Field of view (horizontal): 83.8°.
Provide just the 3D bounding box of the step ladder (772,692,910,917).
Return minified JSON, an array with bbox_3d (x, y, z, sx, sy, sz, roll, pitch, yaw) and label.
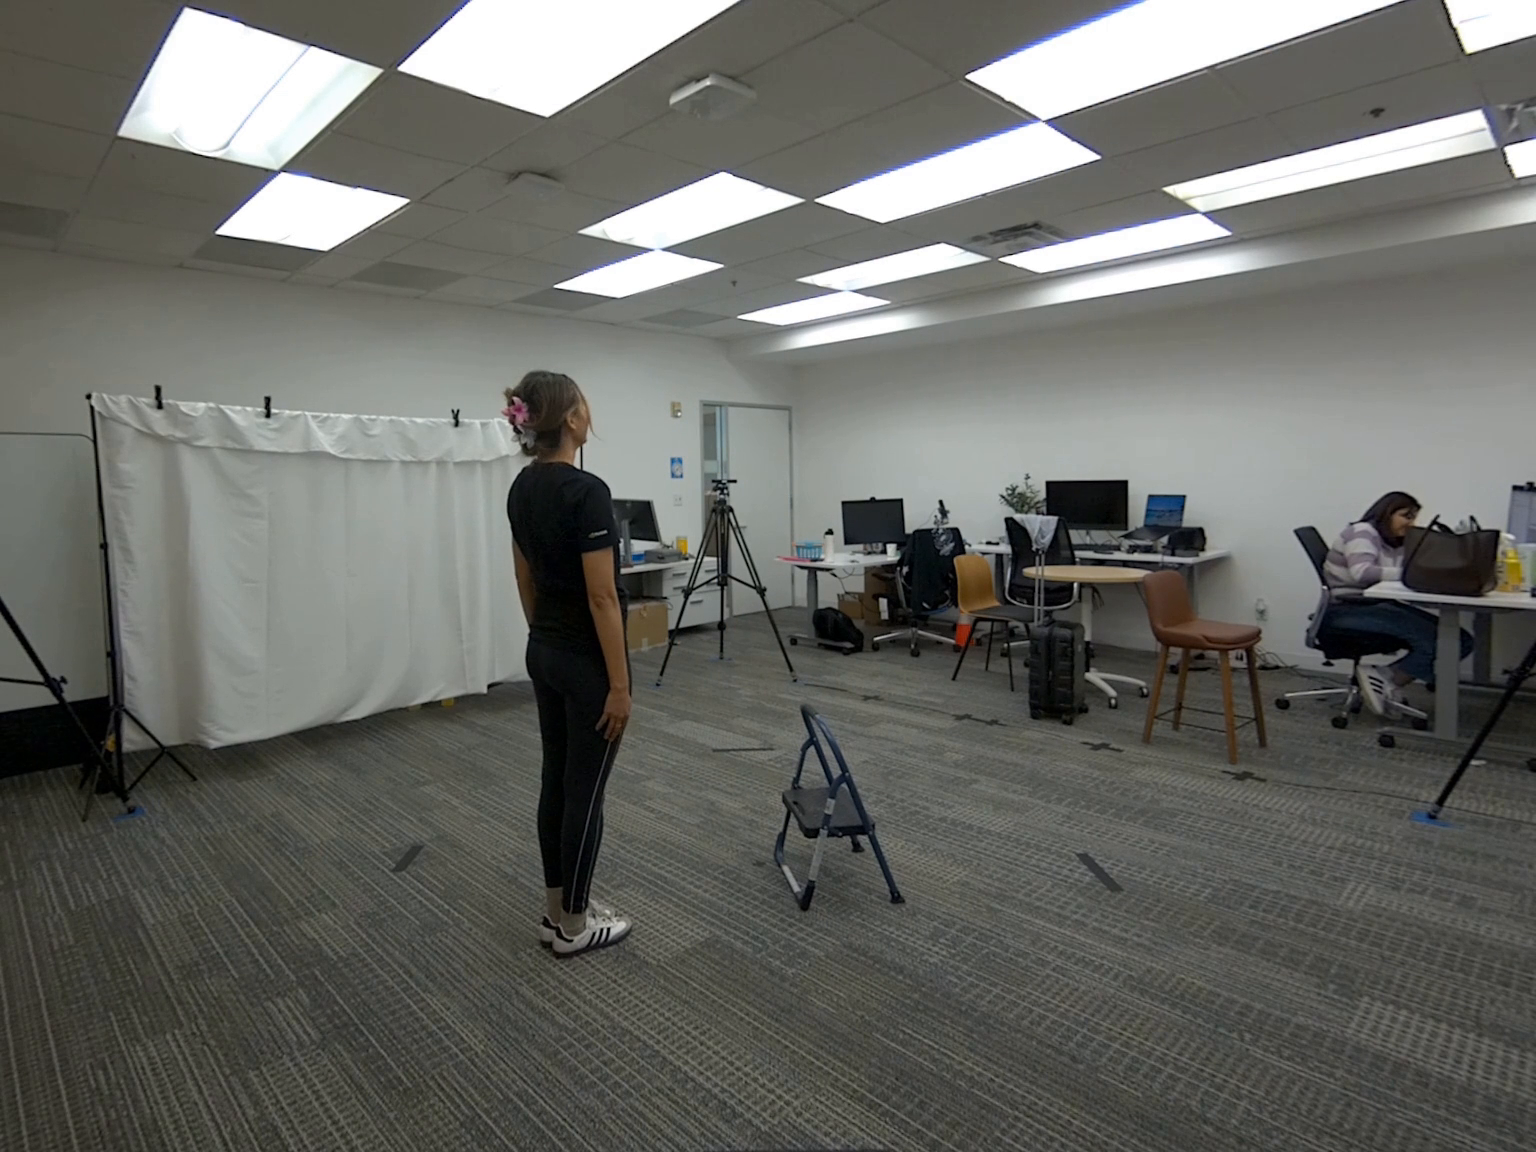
[{"bbox_3d":[0.236,0.761,2.967,0.345,0.604,0.437,-1,5,-12],"label":"step ladder"}]
